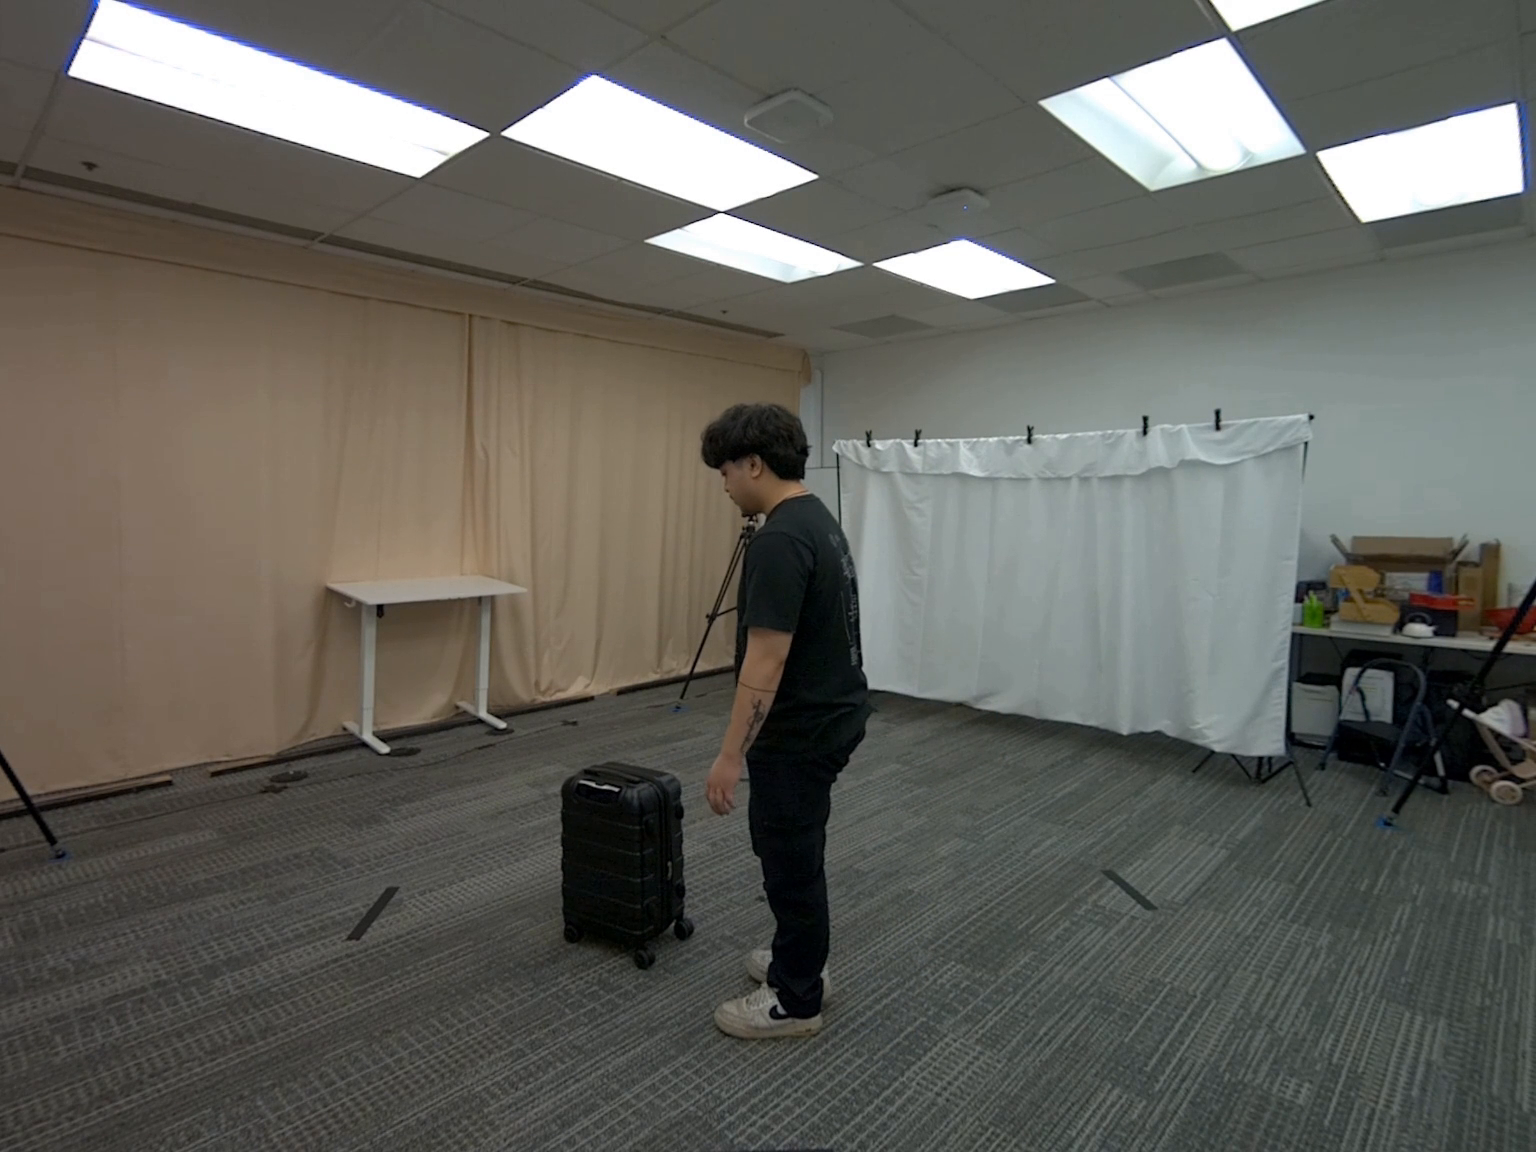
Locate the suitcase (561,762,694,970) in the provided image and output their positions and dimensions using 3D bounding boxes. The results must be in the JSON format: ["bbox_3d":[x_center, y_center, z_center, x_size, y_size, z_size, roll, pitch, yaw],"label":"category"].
[{"bbox_3d":[-0.471,0.895,2.711,0.386,0.548,0.241,0,2,31],"label":"suitcase"}]
